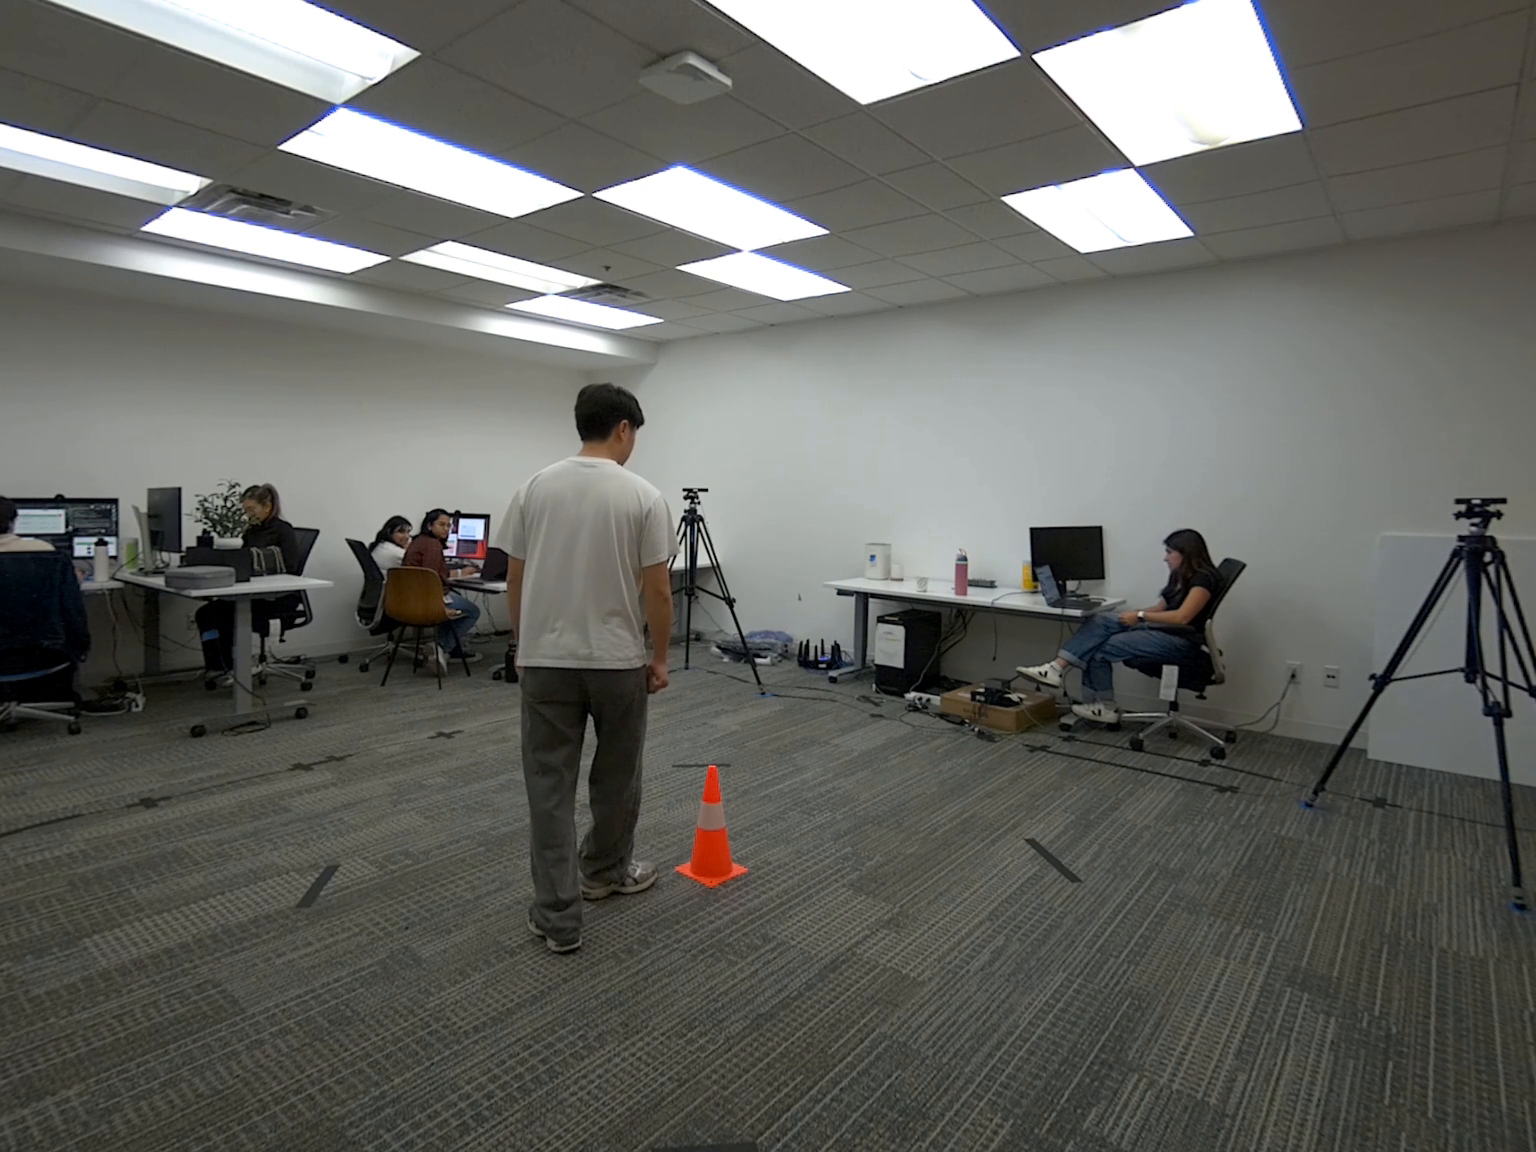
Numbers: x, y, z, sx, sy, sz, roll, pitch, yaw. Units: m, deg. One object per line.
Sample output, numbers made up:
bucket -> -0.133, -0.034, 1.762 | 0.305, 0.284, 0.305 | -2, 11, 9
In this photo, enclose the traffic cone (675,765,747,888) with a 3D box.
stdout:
traffic cone -> -0.209, 0.880, 3.102 | 0.210, 0.383, 0.199 | 1, 3, 39
